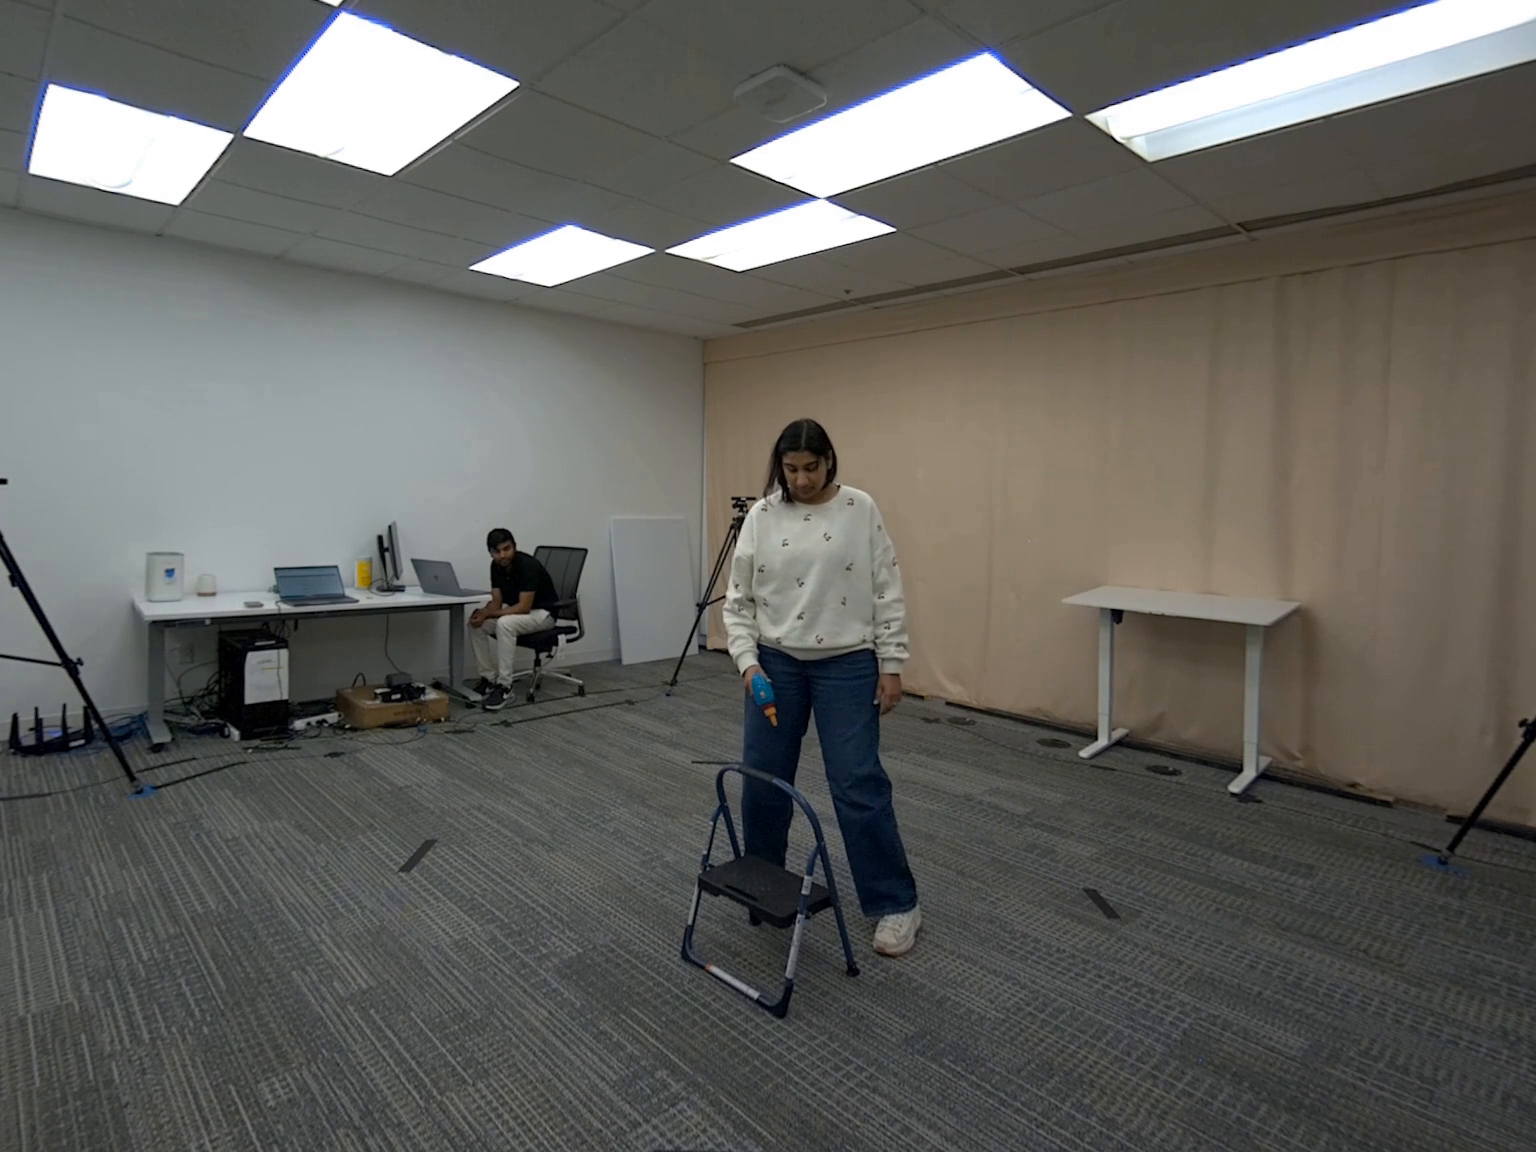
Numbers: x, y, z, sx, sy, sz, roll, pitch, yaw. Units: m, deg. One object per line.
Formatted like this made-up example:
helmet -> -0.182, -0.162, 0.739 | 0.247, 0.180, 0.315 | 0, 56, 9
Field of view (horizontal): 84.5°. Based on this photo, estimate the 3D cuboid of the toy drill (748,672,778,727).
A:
toy drill -> -0.014, 0.388, 2.641 | 0.061, 0.172, 0.144 | -23, -10, 9
